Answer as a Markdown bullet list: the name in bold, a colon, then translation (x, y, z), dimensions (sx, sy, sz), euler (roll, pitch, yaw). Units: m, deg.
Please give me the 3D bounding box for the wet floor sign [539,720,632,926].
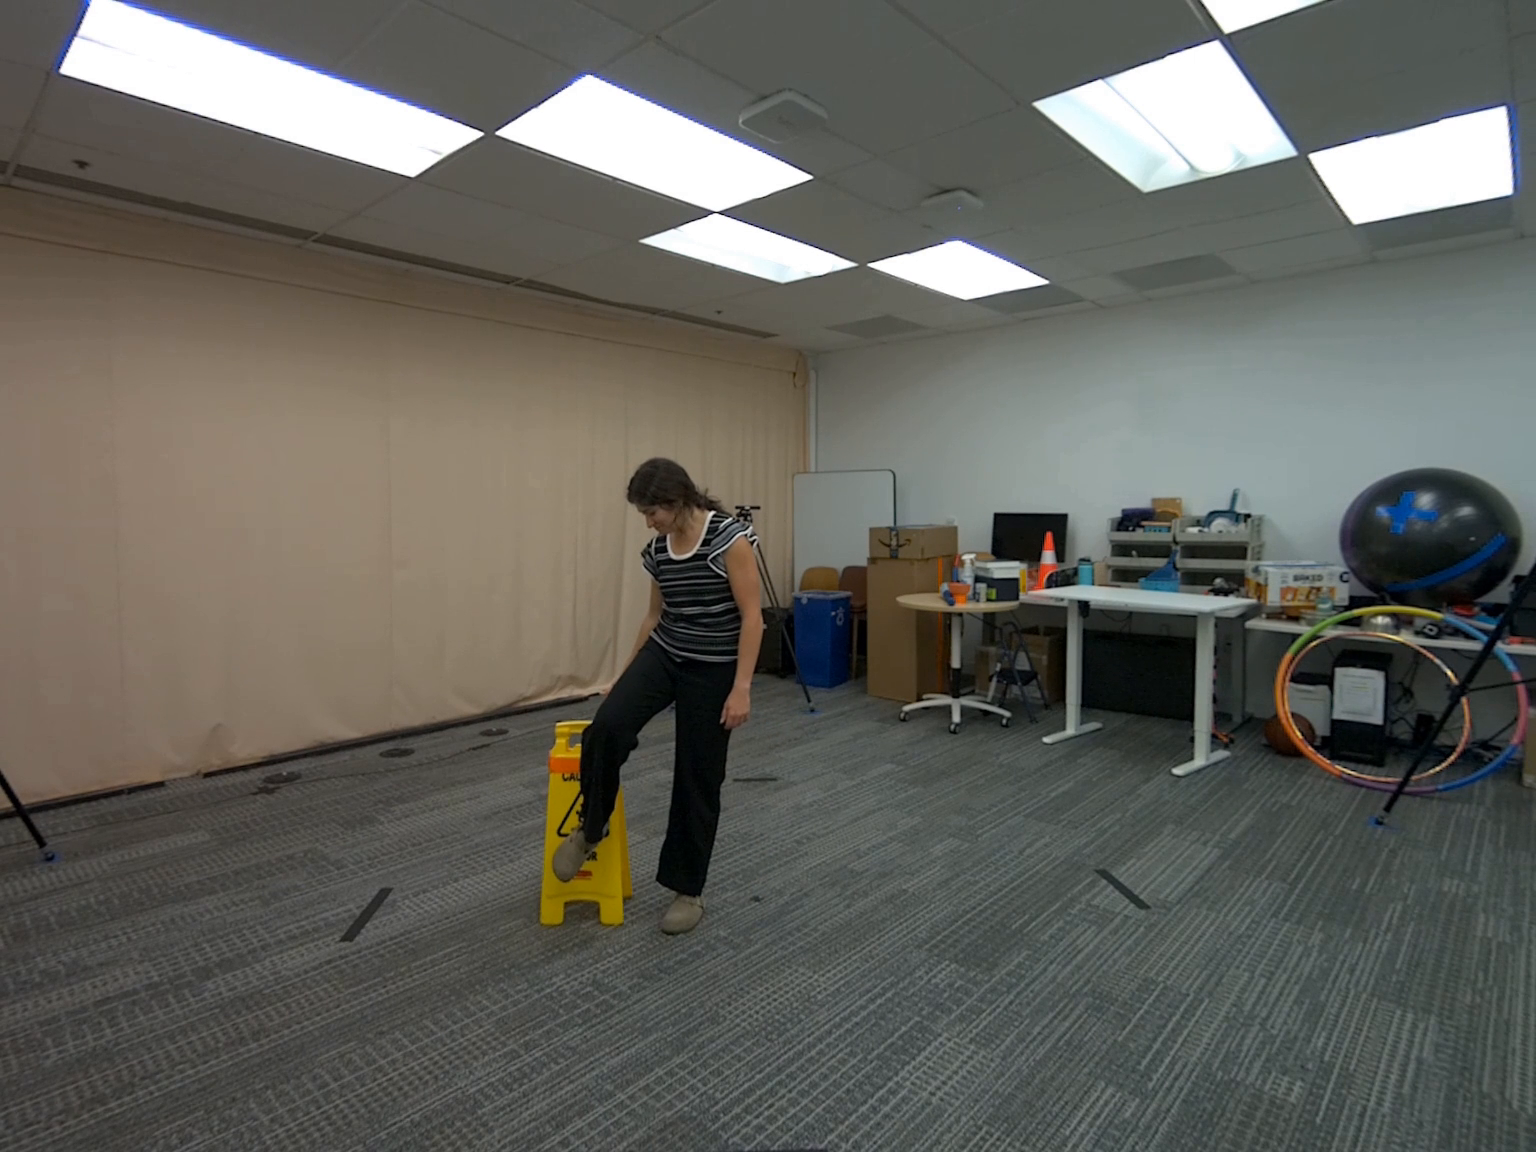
- **wet floor sign**: translation (-0.633, 0.829, 2.906), dimensions (0.283, 0.645, 0.289), euler (1, 1, 2)
